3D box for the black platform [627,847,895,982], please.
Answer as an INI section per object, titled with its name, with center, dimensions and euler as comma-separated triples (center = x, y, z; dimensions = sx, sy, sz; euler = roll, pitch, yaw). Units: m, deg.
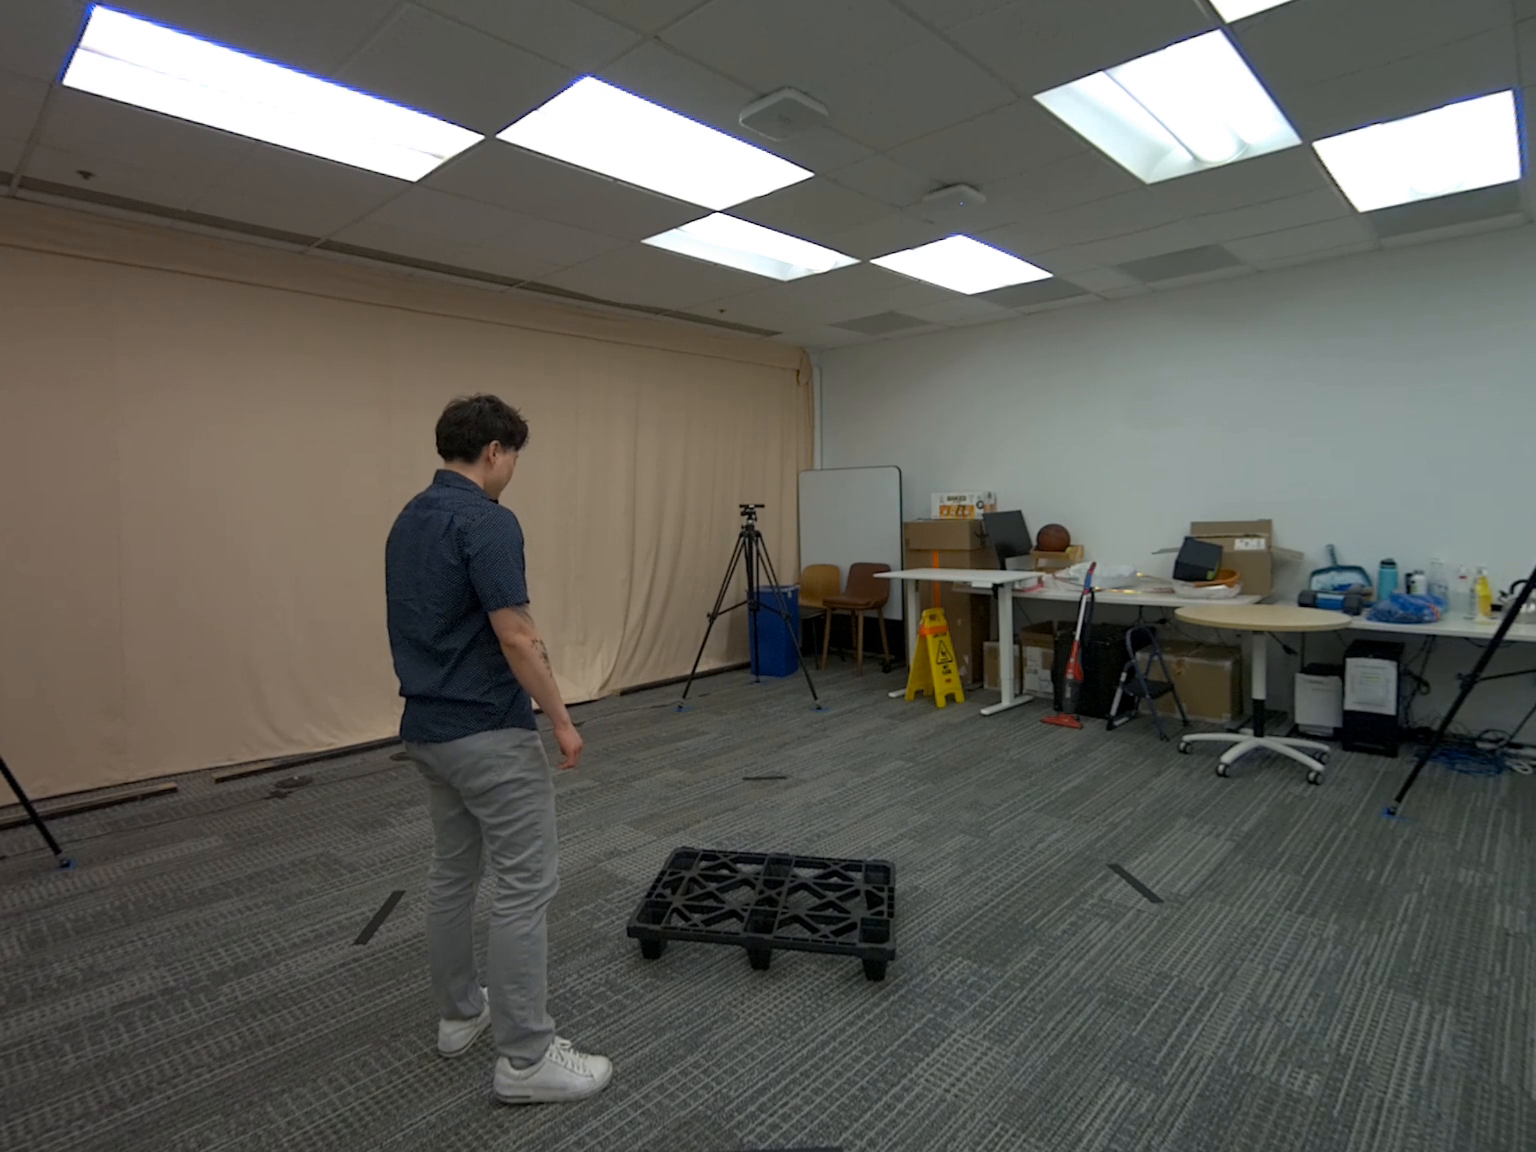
[black platform]
center = 0.010, 1.092, 2.748
dimensions = 0.815, 0.143, 0.599
euler = 0, 5, 10
